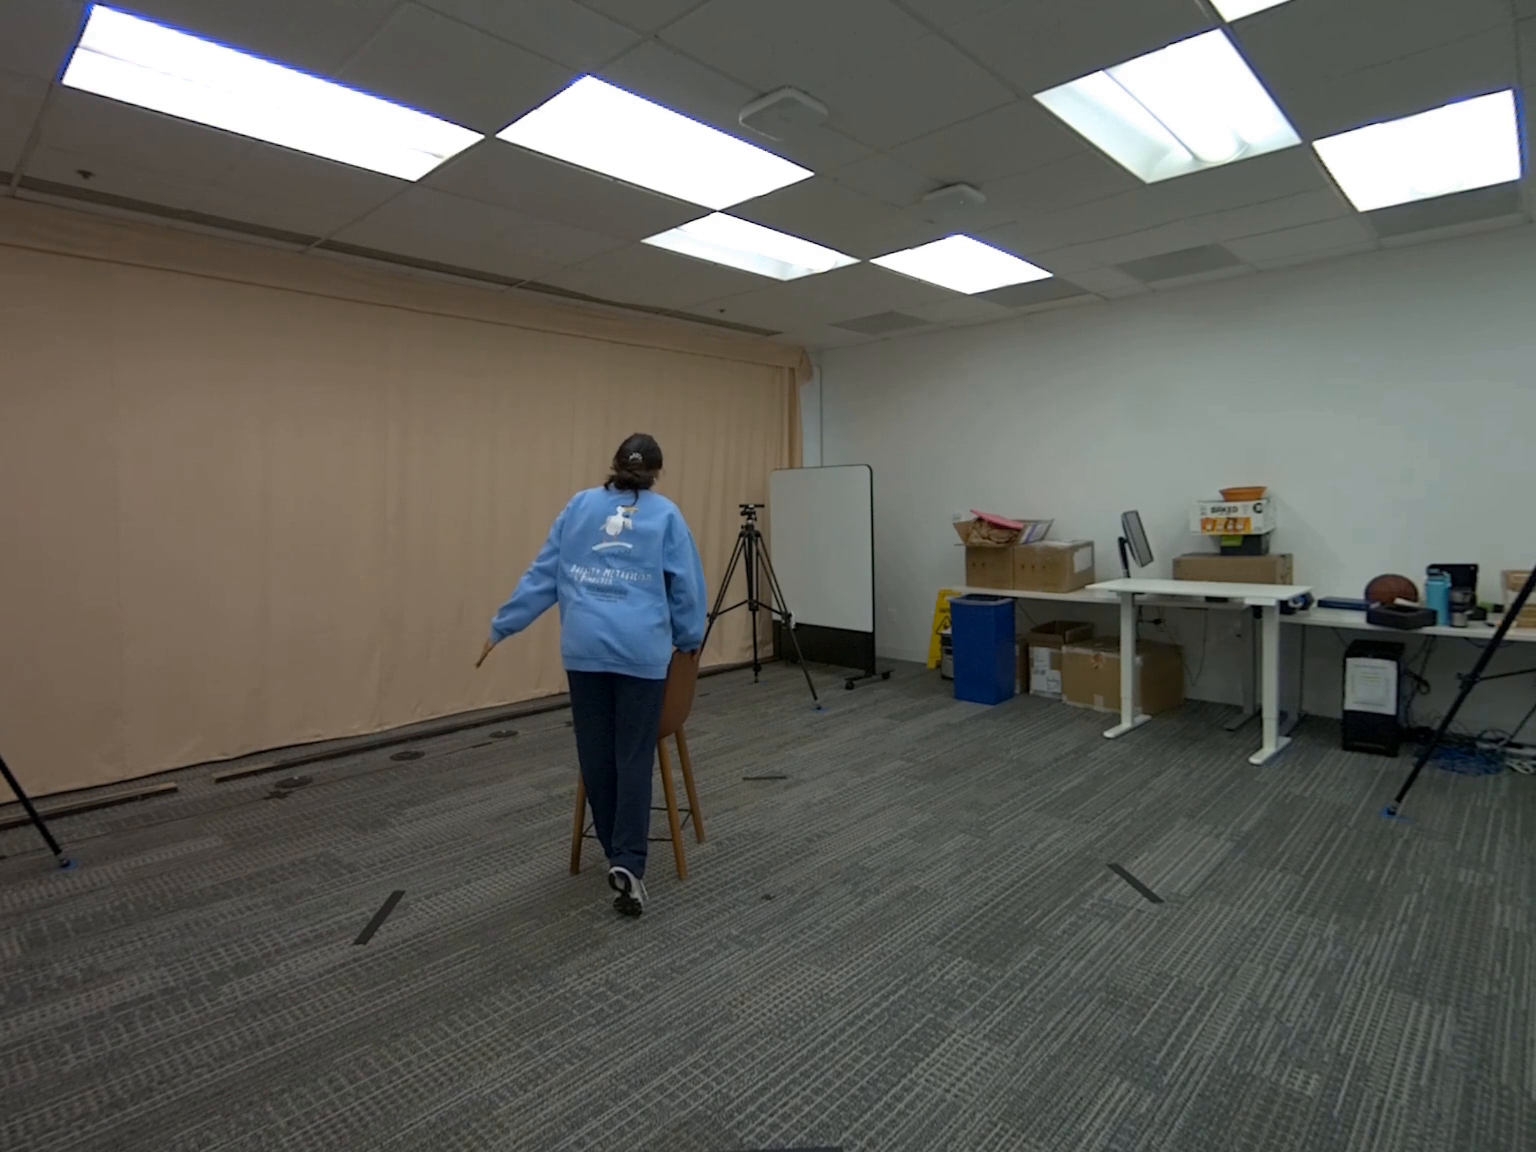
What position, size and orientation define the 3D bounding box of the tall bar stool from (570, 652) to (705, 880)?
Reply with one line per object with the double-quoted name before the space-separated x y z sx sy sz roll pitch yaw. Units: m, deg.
"tall bar stool" -0.510 0.687 3.342 0.473 0.888 0.452 0 4 9
